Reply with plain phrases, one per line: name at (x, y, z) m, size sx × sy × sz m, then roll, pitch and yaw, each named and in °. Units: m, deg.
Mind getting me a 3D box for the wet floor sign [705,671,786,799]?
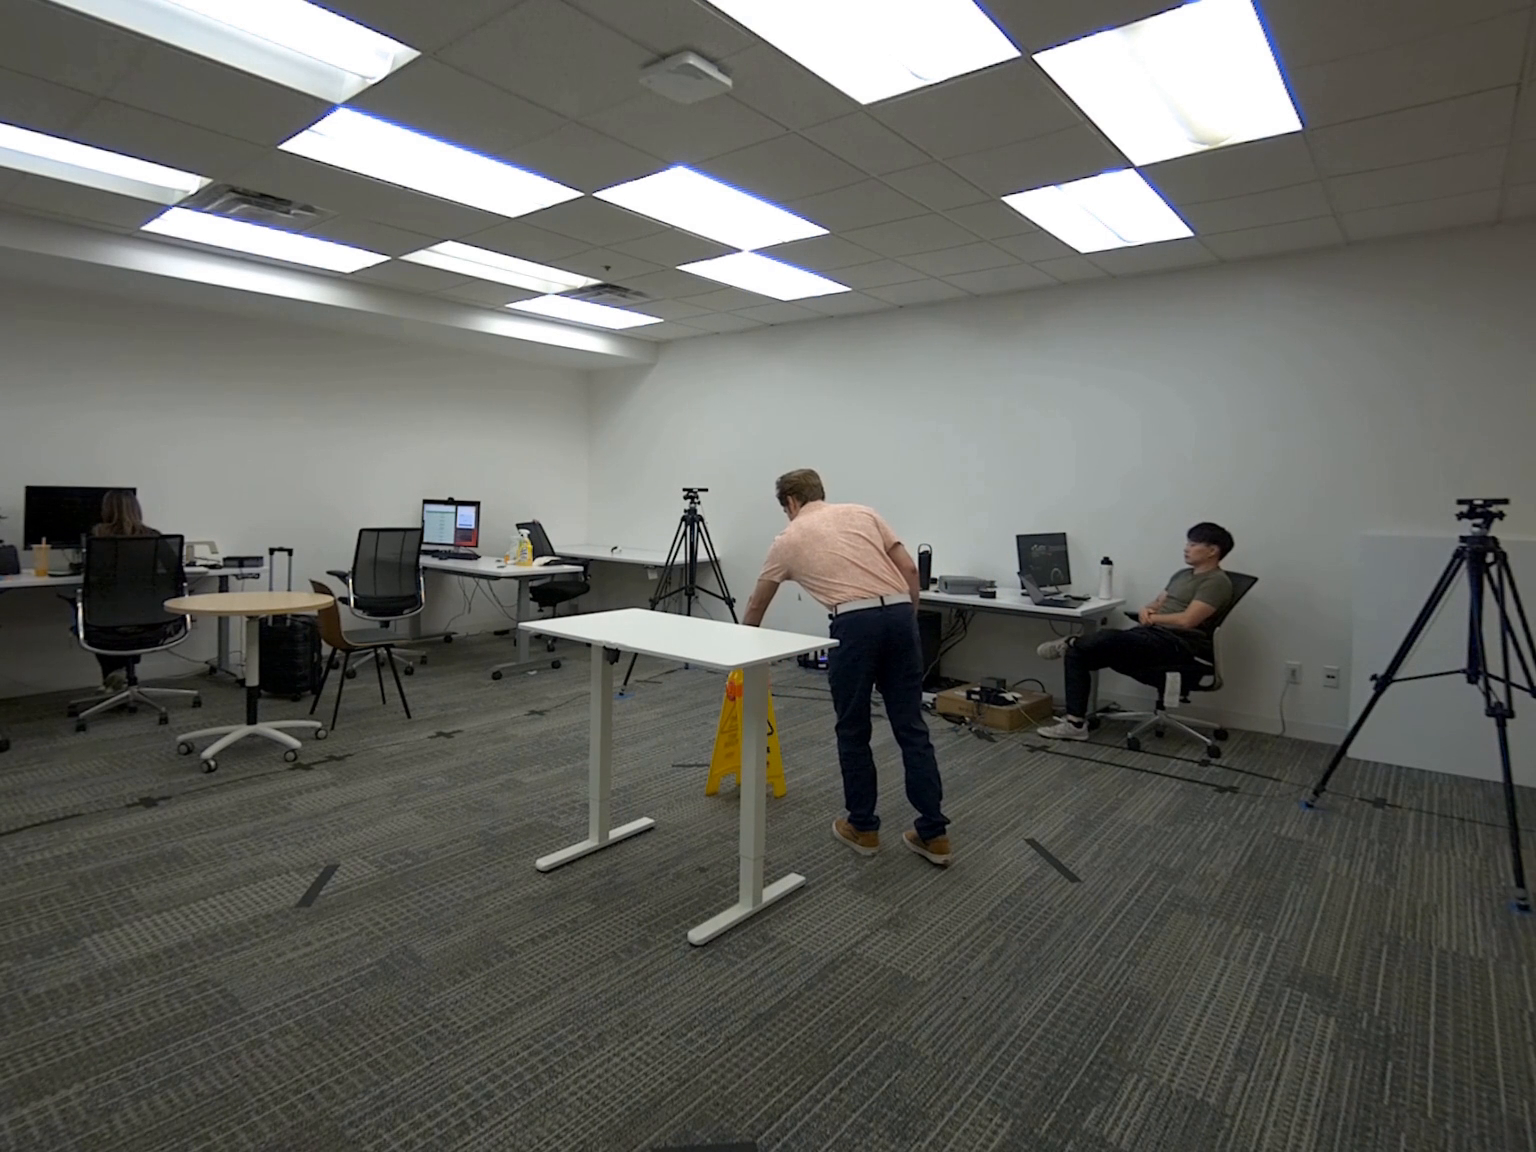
wet floor sign at (-0.099, 0.675, 3.868) m, size 0.299 × 0.643 × 0.274 m, roll 5°, pitch 6°, yaw 39°
